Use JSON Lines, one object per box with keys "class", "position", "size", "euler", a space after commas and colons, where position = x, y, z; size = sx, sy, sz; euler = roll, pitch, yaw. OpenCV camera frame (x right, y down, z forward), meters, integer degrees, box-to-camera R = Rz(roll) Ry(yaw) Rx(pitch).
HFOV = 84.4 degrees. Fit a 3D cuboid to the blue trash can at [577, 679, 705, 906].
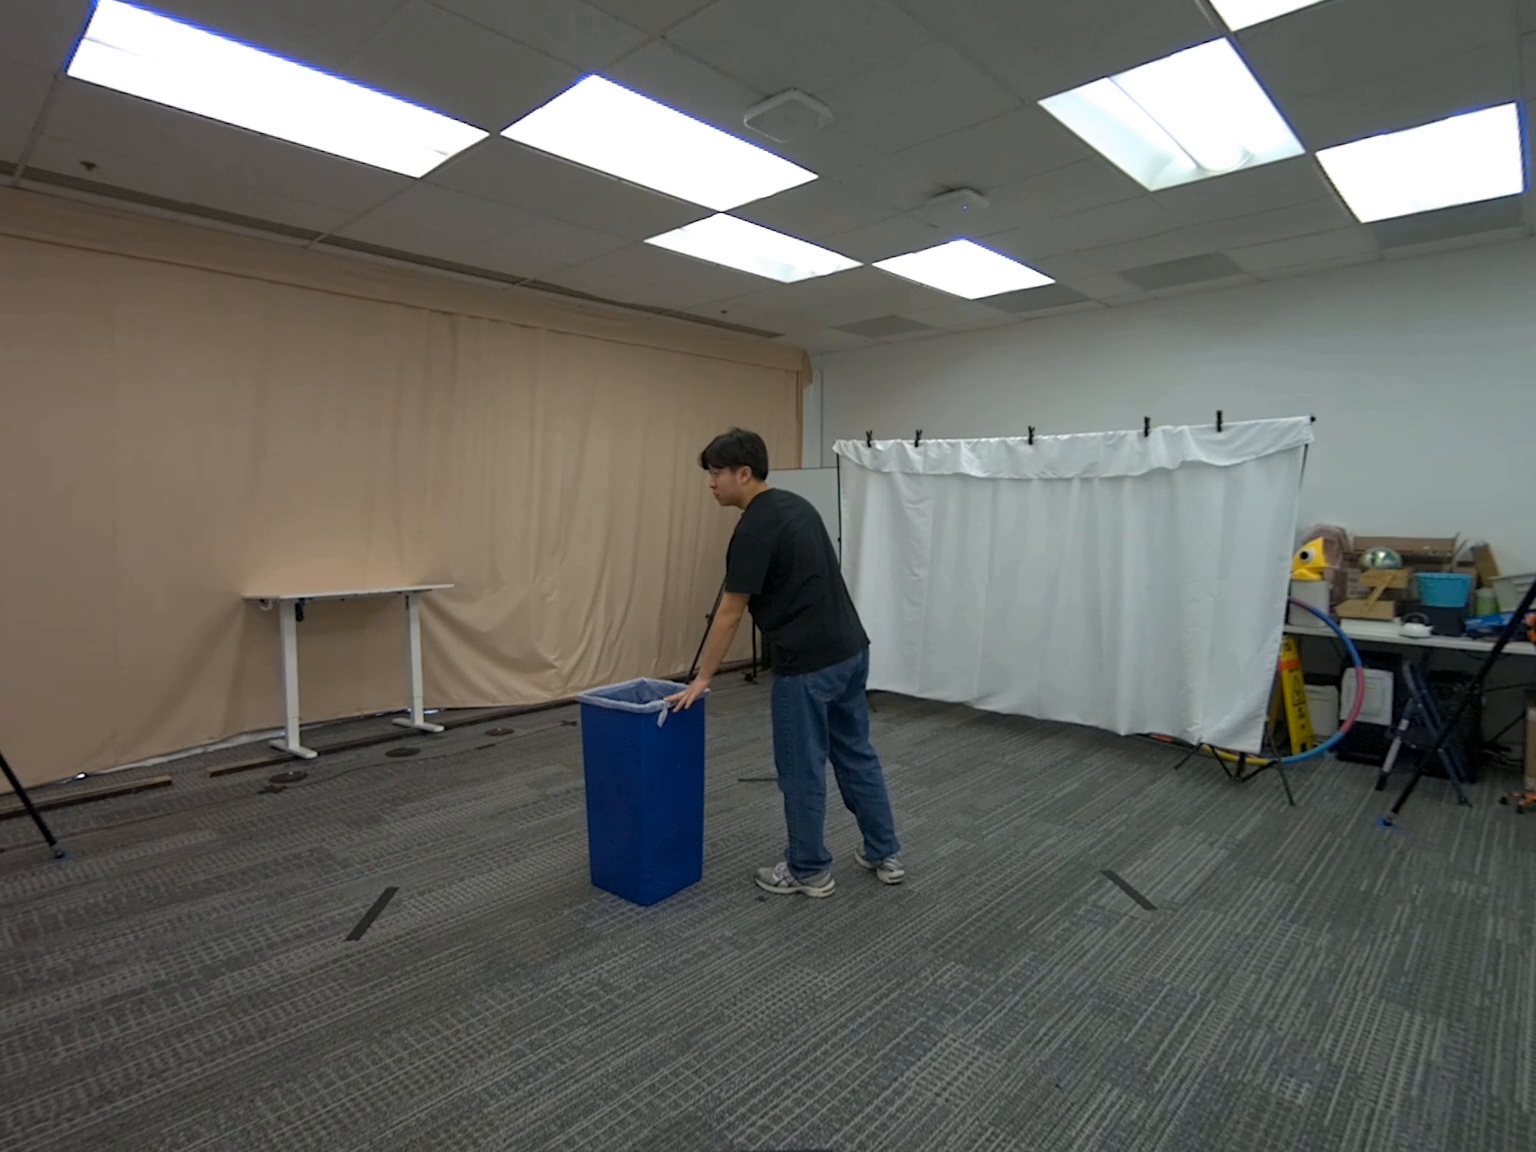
{"class": "blue trash can", "position": [-0.463, 0.782, 3.119], "size": [0.386, 0.712, 0.367], "euler": [2, 3, 38]}
